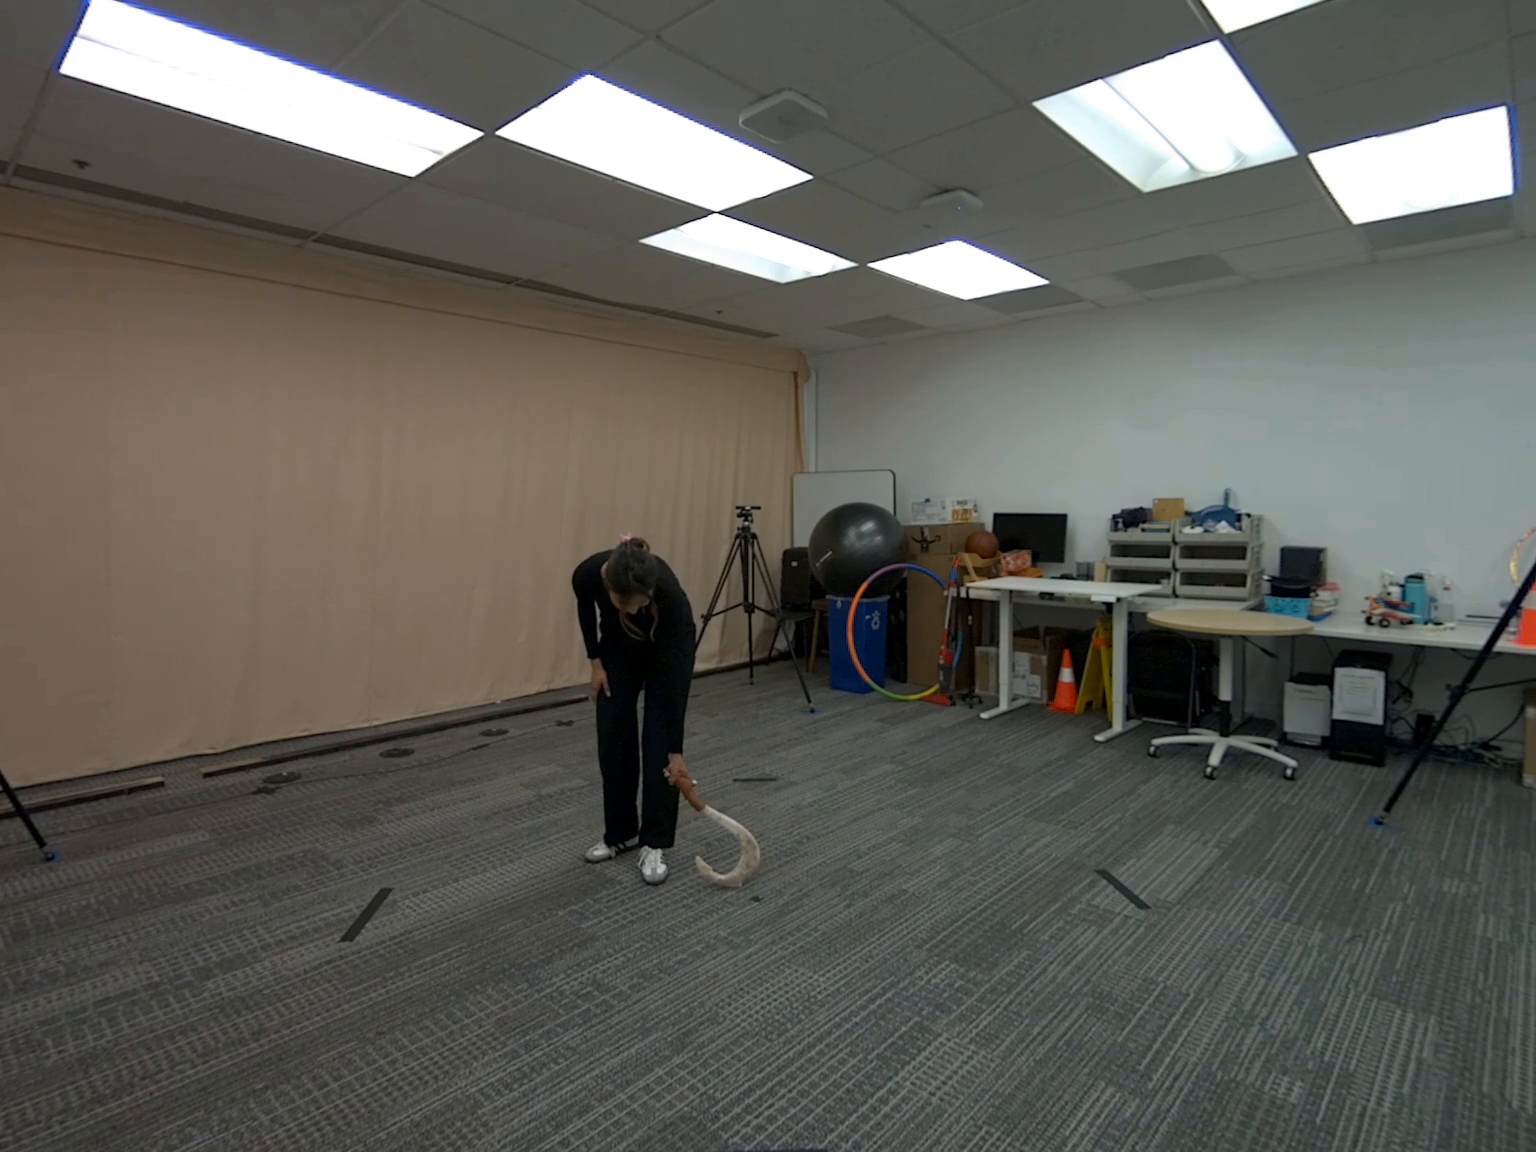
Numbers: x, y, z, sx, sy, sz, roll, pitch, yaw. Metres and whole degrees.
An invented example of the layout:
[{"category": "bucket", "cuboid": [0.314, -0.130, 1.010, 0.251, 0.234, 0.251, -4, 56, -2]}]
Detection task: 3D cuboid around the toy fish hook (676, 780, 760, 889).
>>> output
[{"category": "toy fish hook", "cuboid": [-0.236, 0.914, 3.070, 0.223, 0.506, 0.049, -39, 1, -16]}]
